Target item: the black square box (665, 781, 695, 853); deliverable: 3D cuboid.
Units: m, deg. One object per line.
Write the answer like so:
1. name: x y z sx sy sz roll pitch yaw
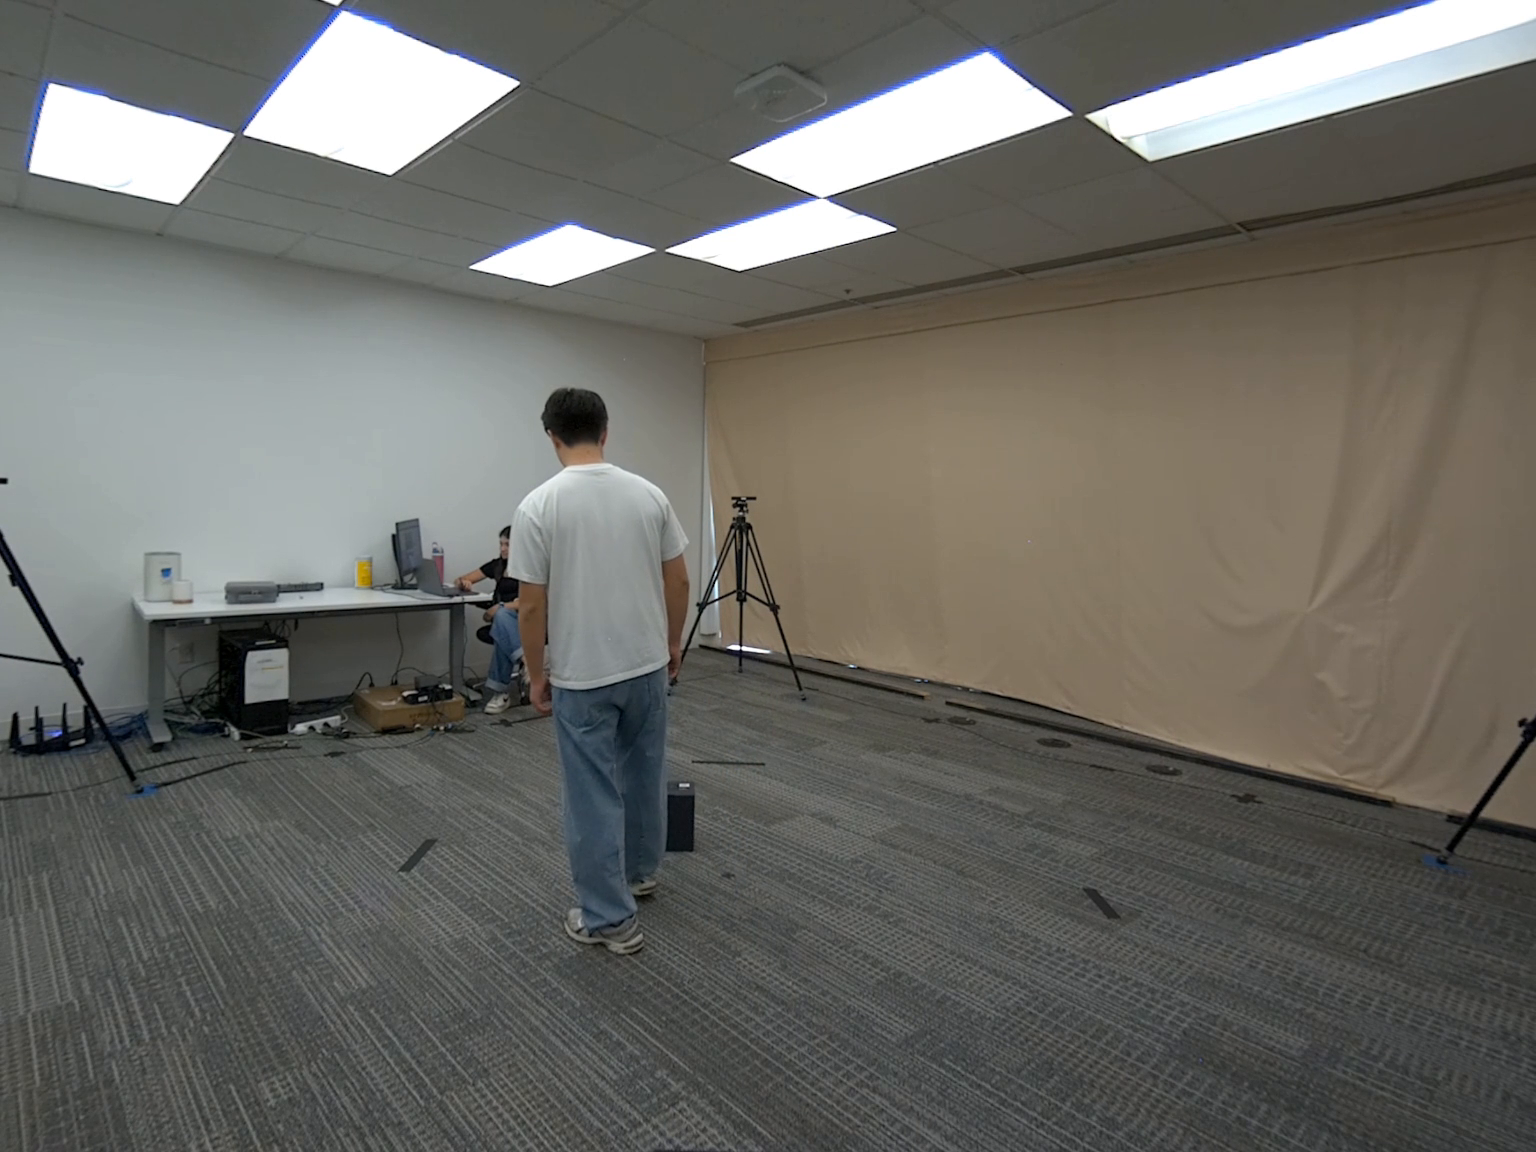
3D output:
1. black square box: -0.407 0.957 3.368 0.216 0.227 0.157 2 3 -4
